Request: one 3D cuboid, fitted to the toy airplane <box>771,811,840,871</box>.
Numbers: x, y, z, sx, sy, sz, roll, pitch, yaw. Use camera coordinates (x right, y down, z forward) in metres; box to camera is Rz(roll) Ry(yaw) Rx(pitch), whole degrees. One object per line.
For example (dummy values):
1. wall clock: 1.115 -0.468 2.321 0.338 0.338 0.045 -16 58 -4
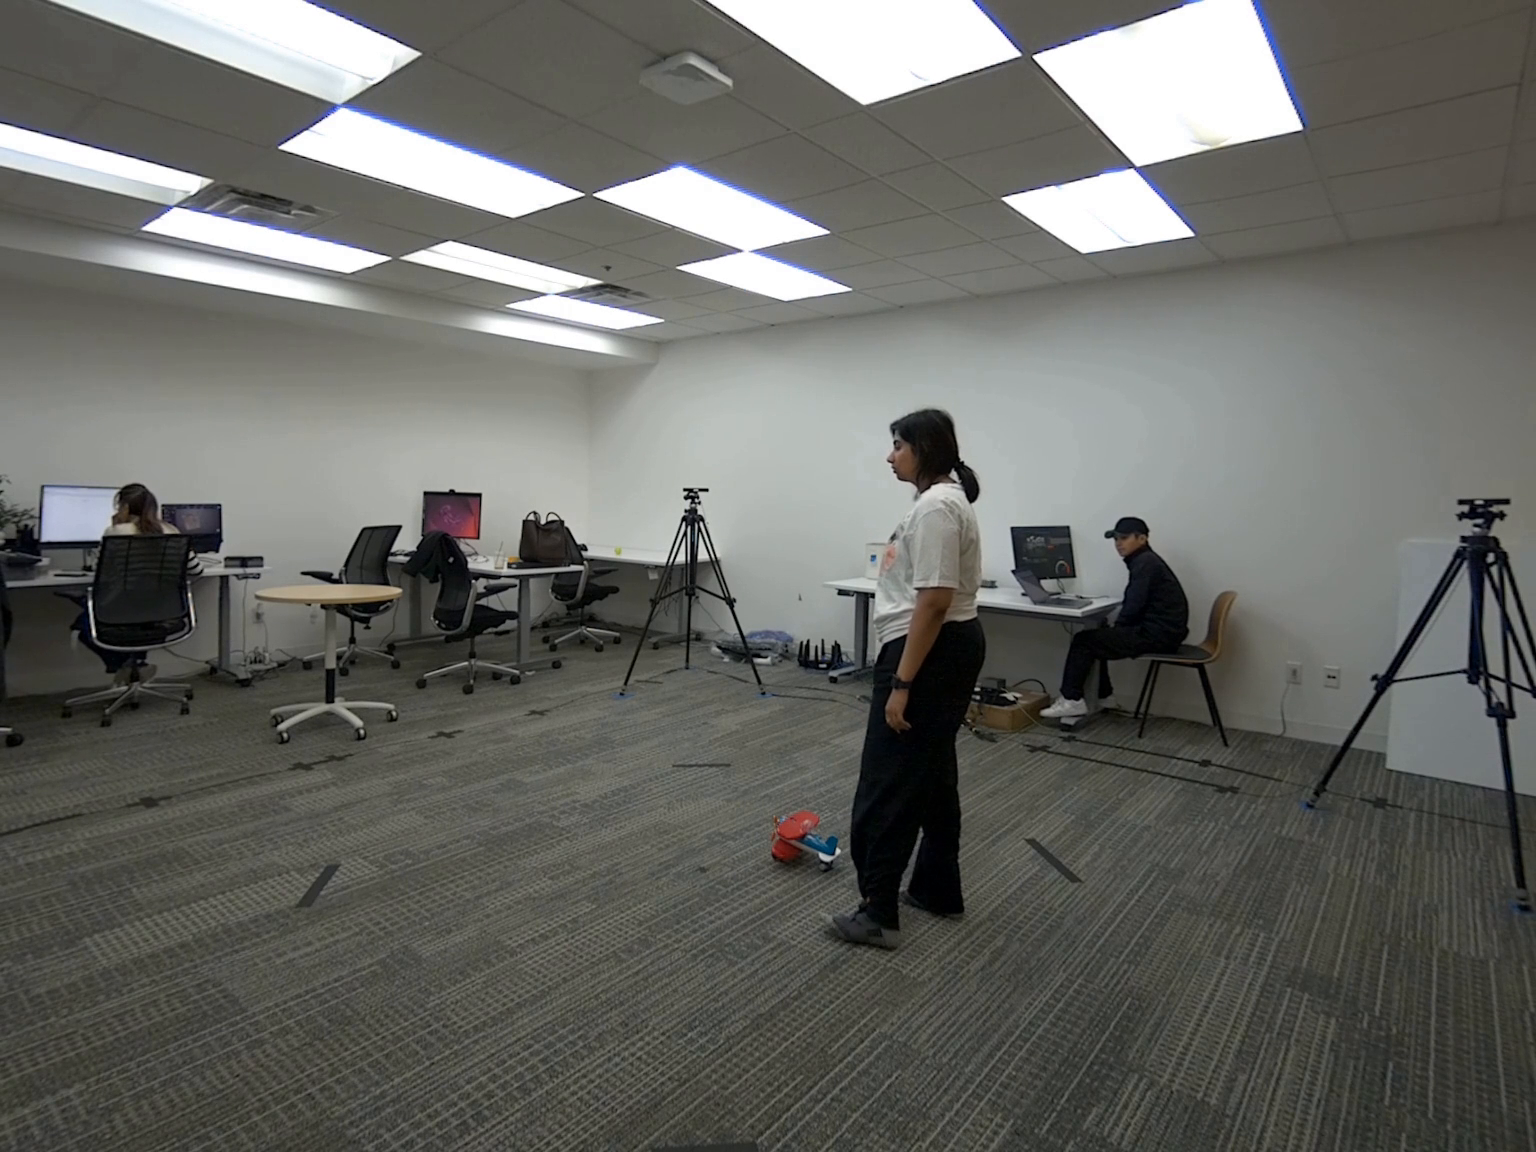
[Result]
1. toy airplane: 0.137 0.990 3.203 0.260 0.156 0.251 1 4 3
